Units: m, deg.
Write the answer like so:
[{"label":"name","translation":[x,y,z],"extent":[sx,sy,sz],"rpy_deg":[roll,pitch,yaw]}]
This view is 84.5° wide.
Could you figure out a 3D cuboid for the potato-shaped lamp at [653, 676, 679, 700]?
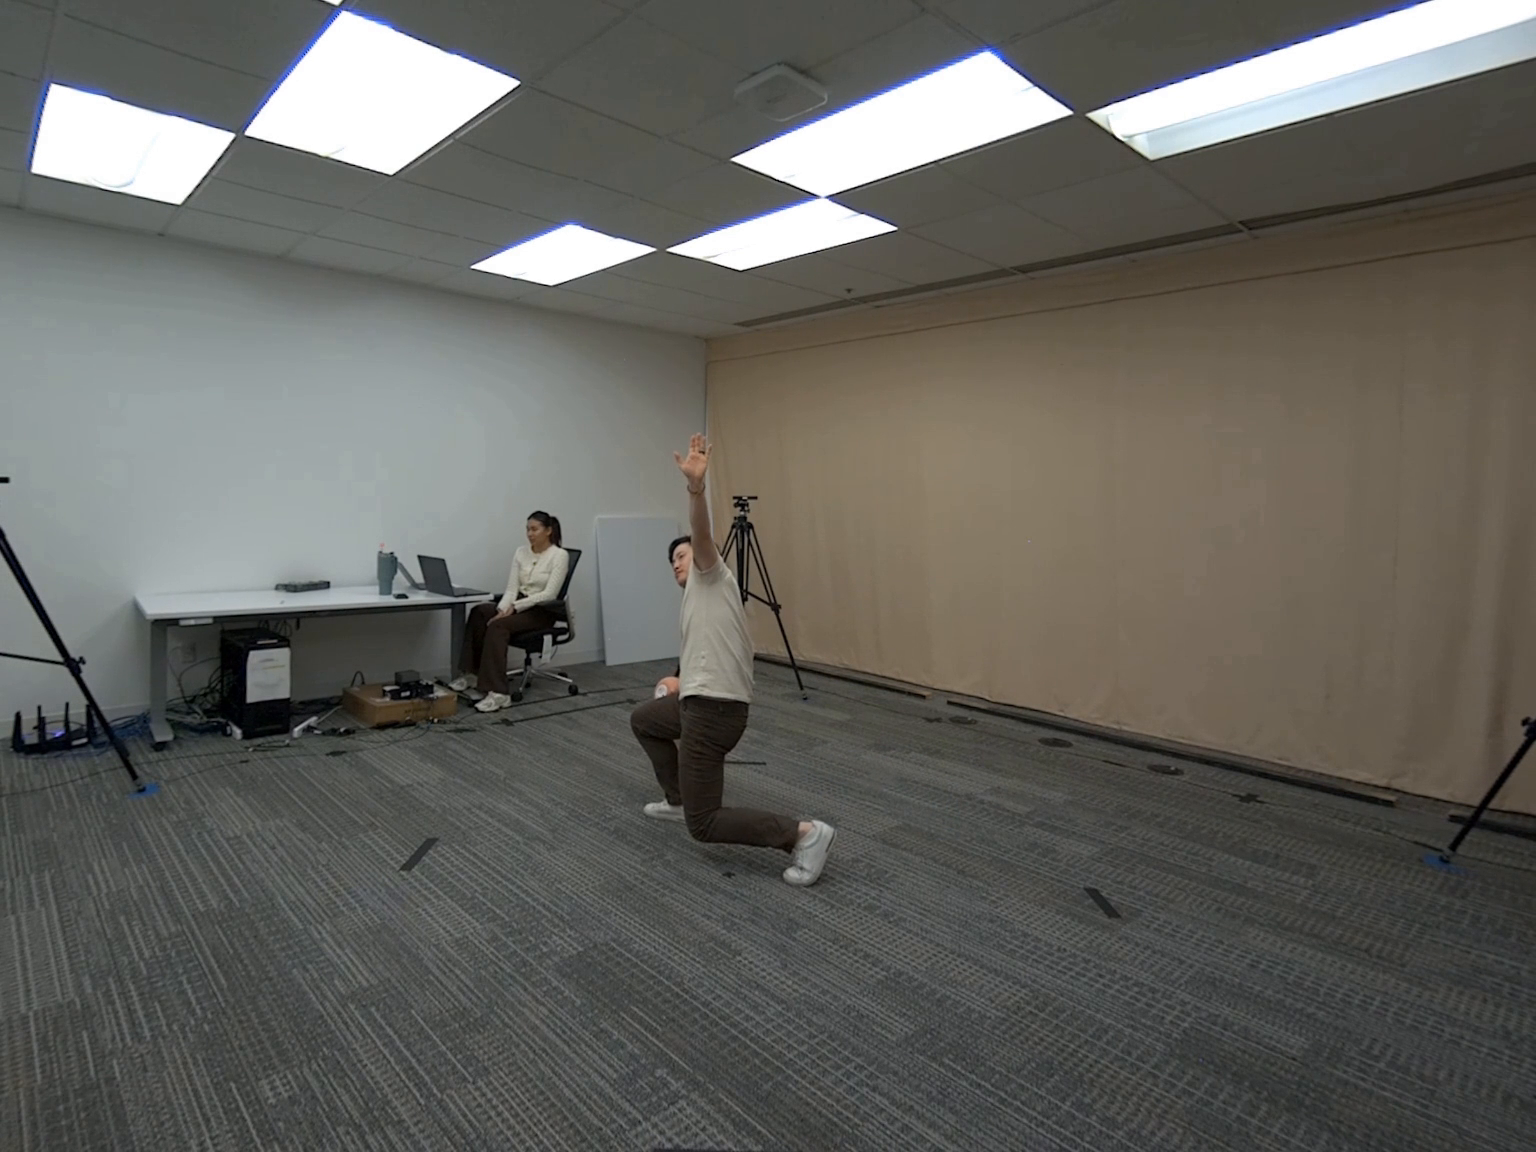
[{"label":"potato-shaped lamp","translation":[-0.443,0.565,3.967],"extent":[0.192,0.164,0.177],"rpy_deg":[28,13,-41]}]
